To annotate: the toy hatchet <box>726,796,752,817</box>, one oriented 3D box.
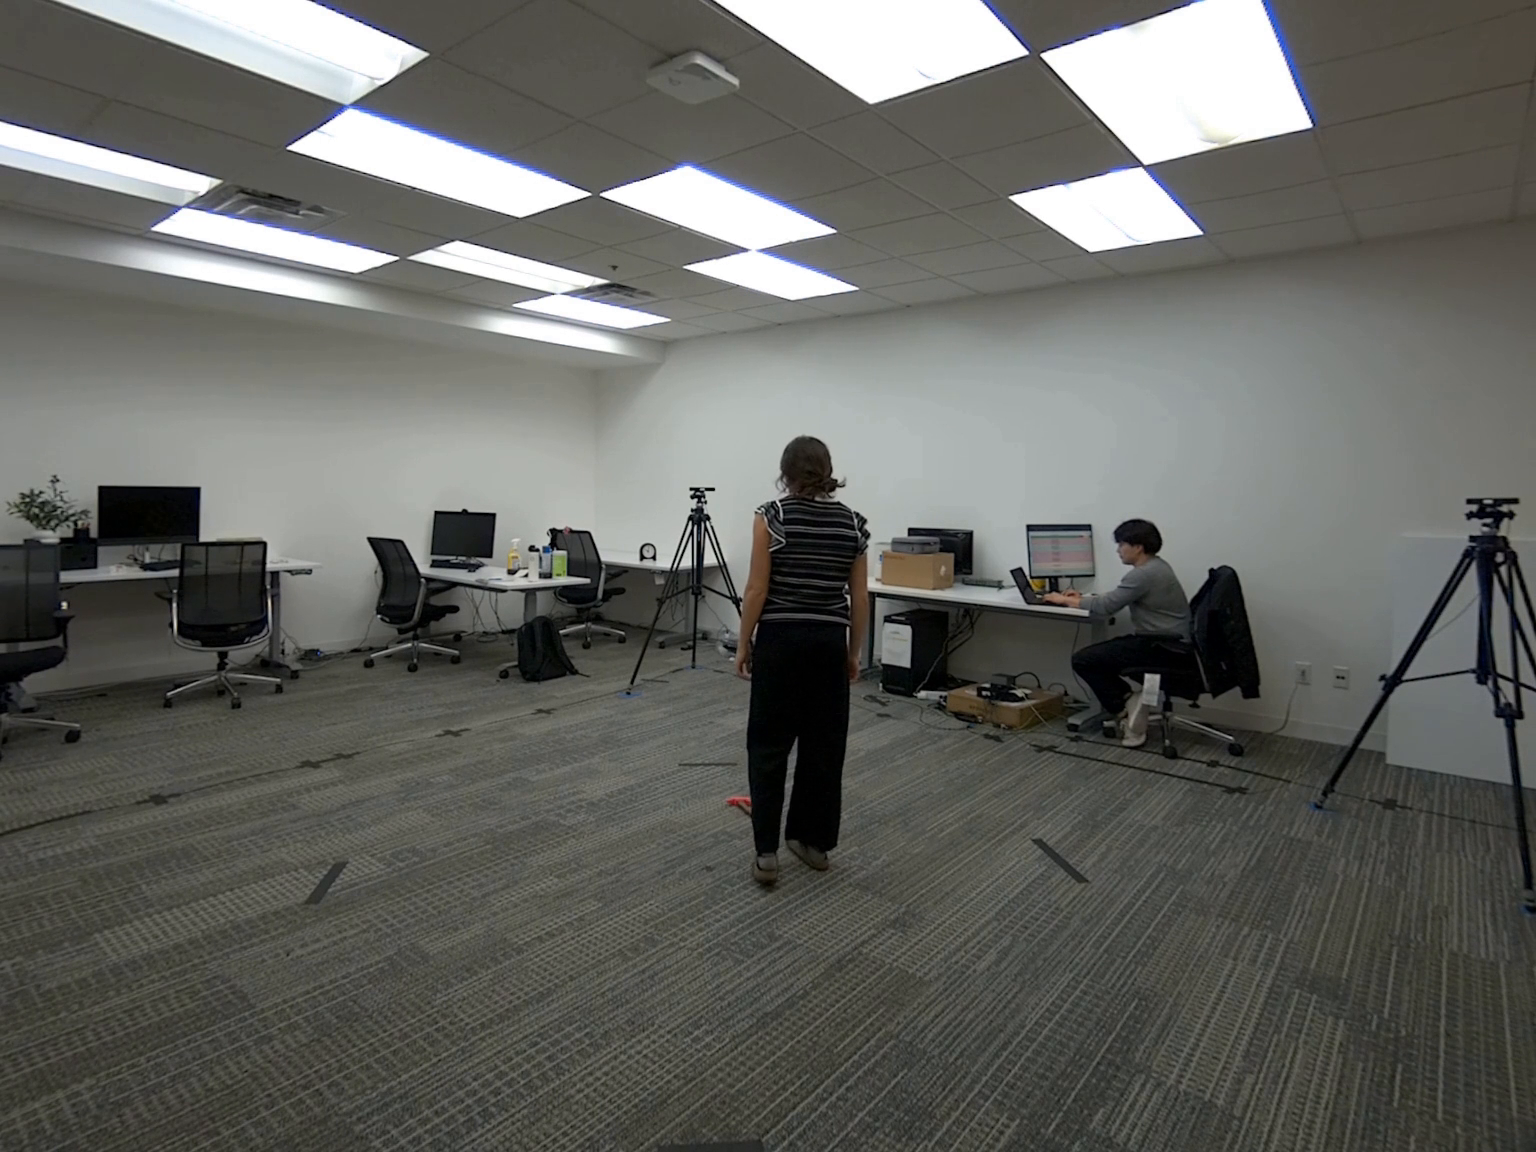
[{"bbox_3d":[-0.068,1.000,3.674,0.127,0.029,0.280,1,7,-41],"label":"toy hatchet"}]
